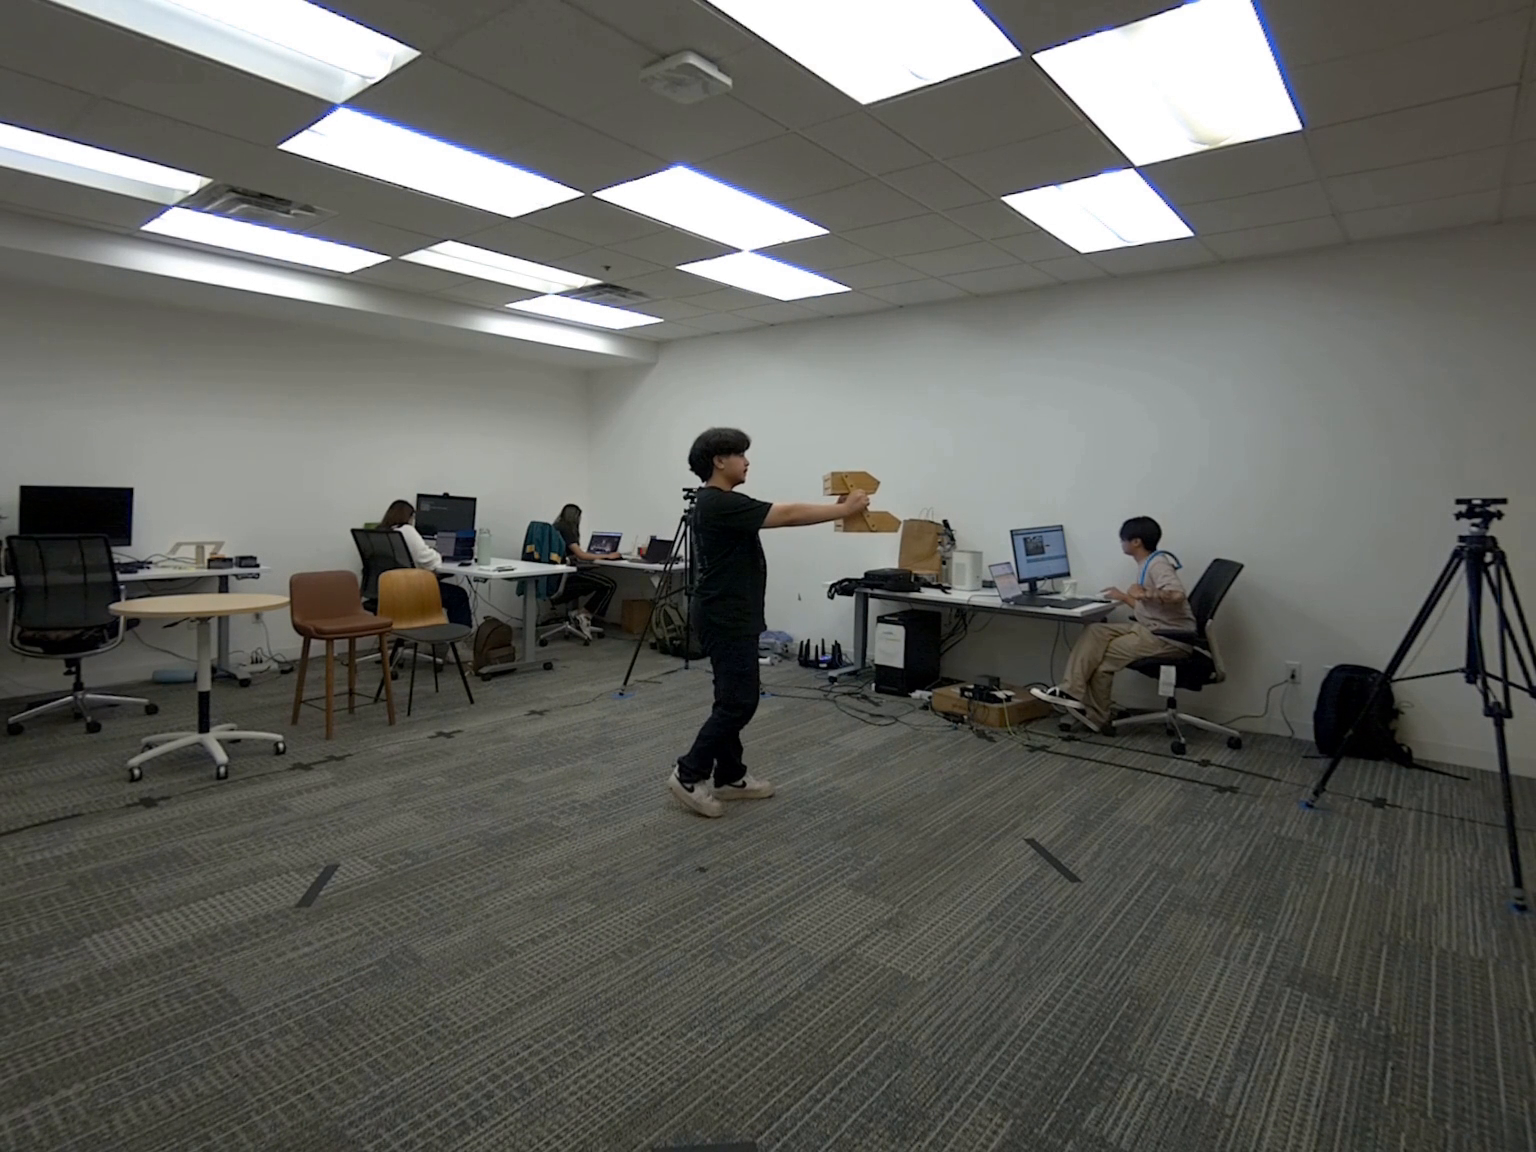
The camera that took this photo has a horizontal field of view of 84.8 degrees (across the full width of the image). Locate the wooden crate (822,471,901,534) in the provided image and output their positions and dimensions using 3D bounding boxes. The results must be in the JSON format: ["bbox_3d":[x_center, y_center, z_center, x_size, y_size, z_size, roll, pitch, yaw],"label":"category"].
[{"bbox_3d":[0.414,-0.336,3.767,0.302,0.273,0.325,-1,2,-2],"label":"wooden crate"}]
